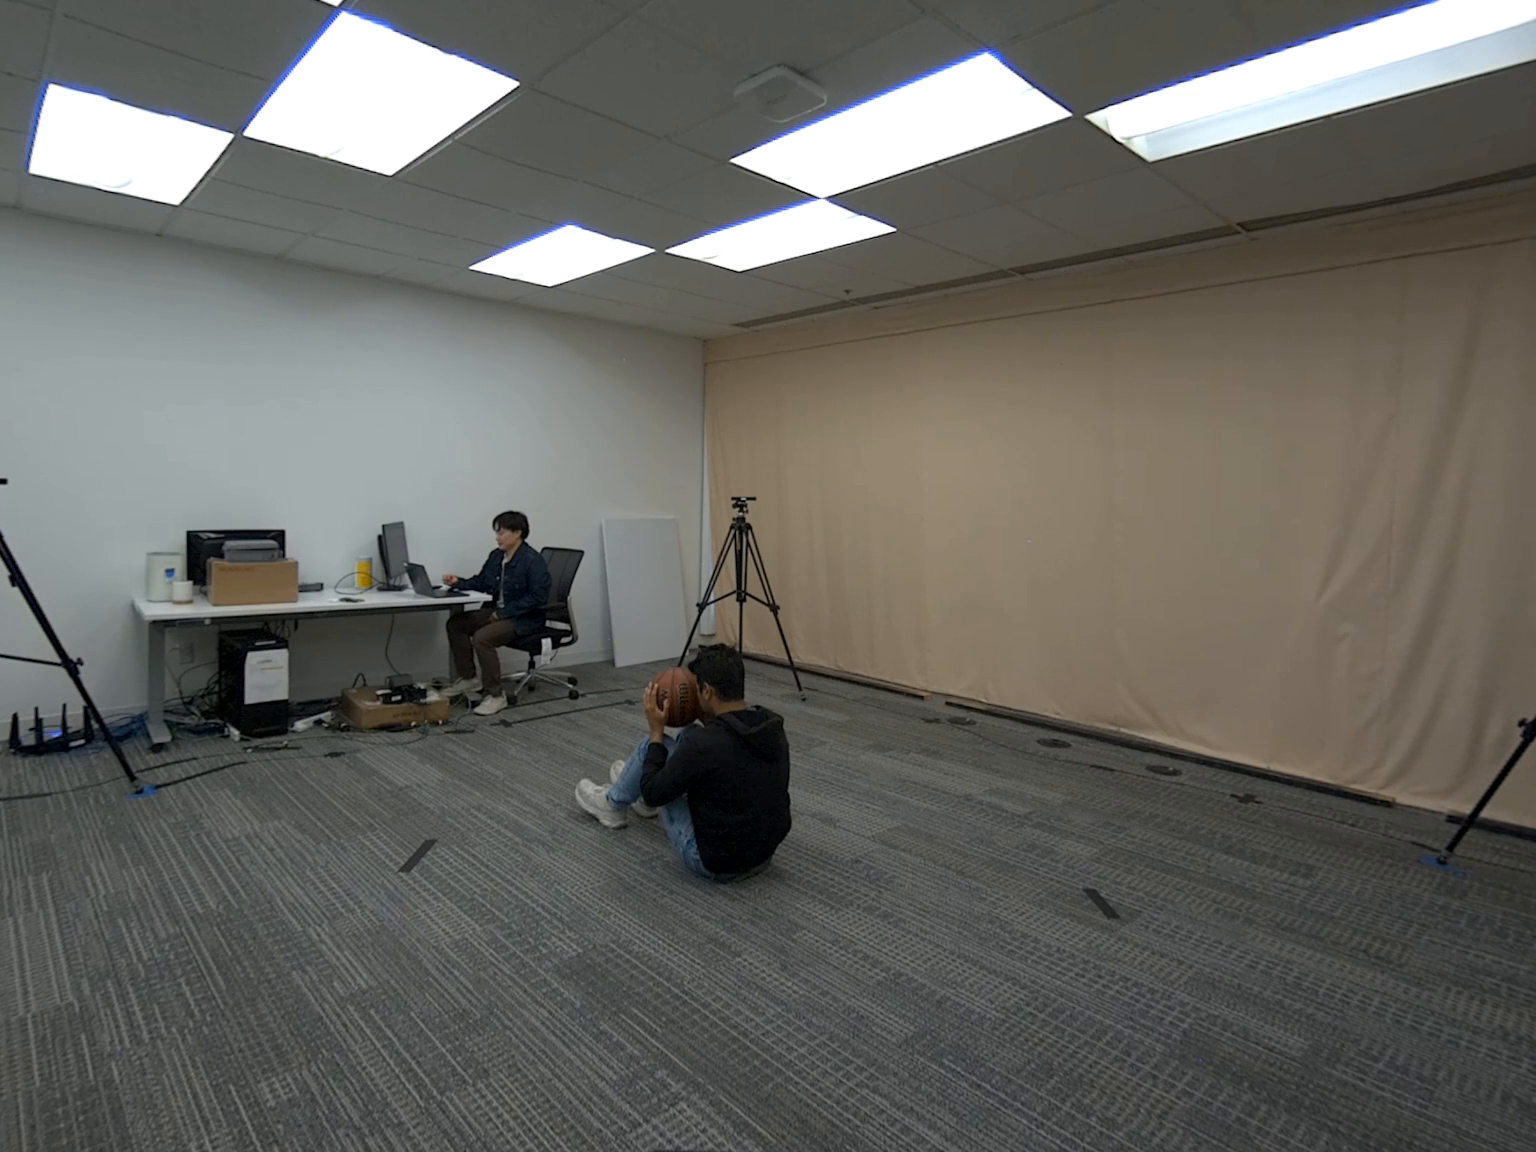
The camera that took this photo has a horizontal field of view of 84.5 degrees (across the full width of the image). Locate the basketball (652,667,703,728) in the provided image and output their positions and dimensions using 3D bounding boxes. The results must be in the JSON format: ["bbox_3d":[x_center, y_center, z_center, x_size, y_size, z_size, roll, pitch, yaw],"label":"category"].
[{"bbox_3d":[-0.363,0.478,3.360,0.236,0.235,0.237,1,4,-1],"label":"basketball"}]
